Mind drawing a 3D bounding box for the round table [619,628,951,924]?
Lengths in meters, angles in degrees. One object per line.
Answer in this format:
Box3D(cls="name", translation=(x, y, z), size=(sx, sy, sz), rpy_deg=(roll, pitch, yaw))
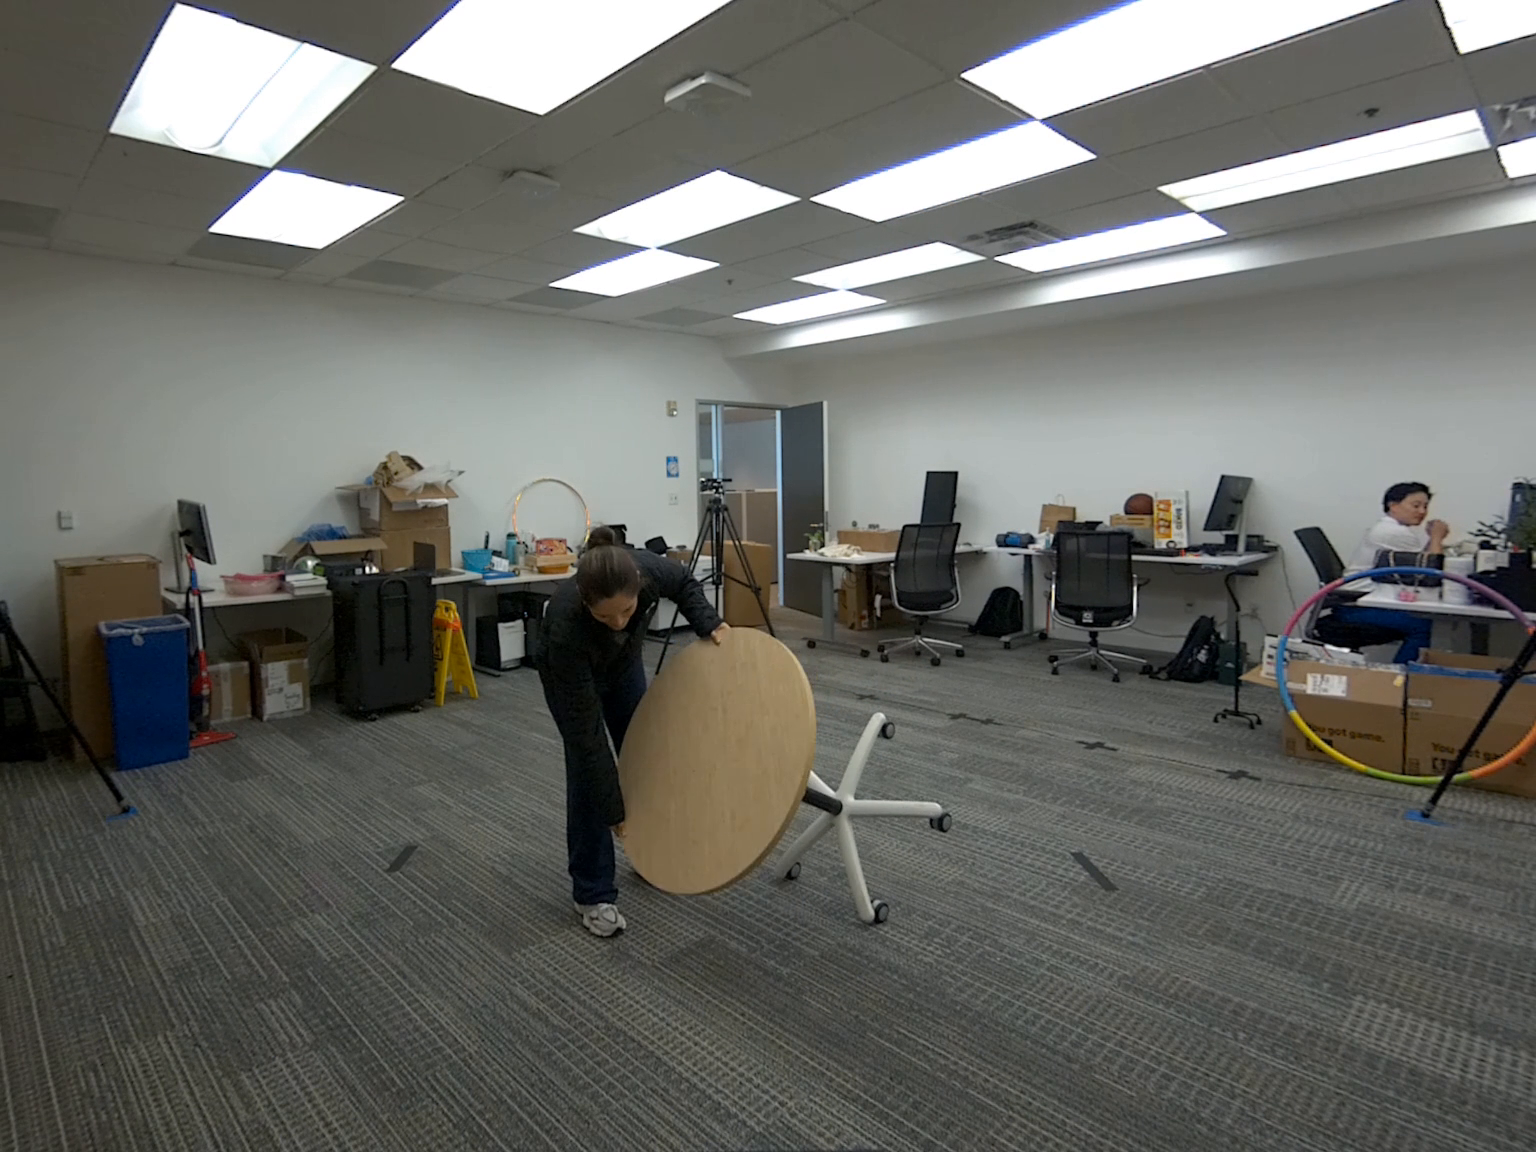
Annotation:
Box3D(cls="round table", translation=(0.062, 0.658, 2.700), size=(0.809, 0.791, 0.757), rpy_deg=(4, -23, 47))
